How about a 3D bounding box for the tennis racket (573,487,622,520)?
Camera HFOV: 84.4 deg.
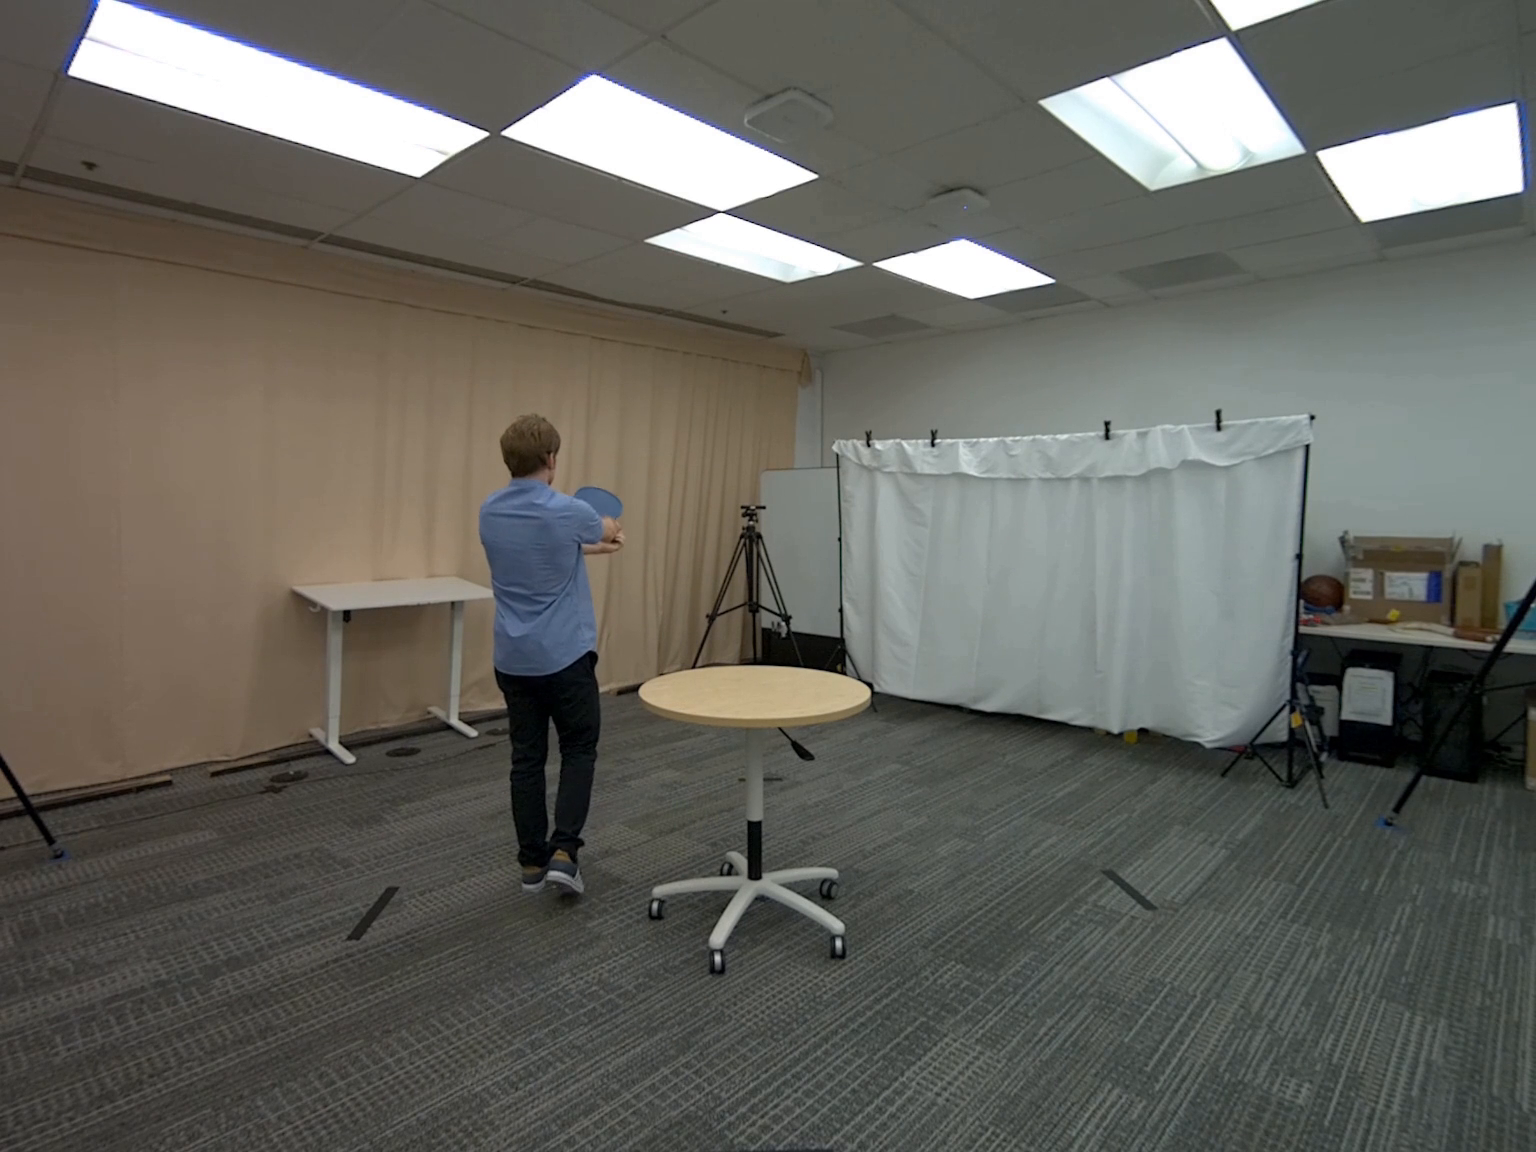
[{"bbox_3d":[-0.693,-0.273,3.657,0.208,0.031,0.447,-3,38,-28],"label":"tennis racket"}]
